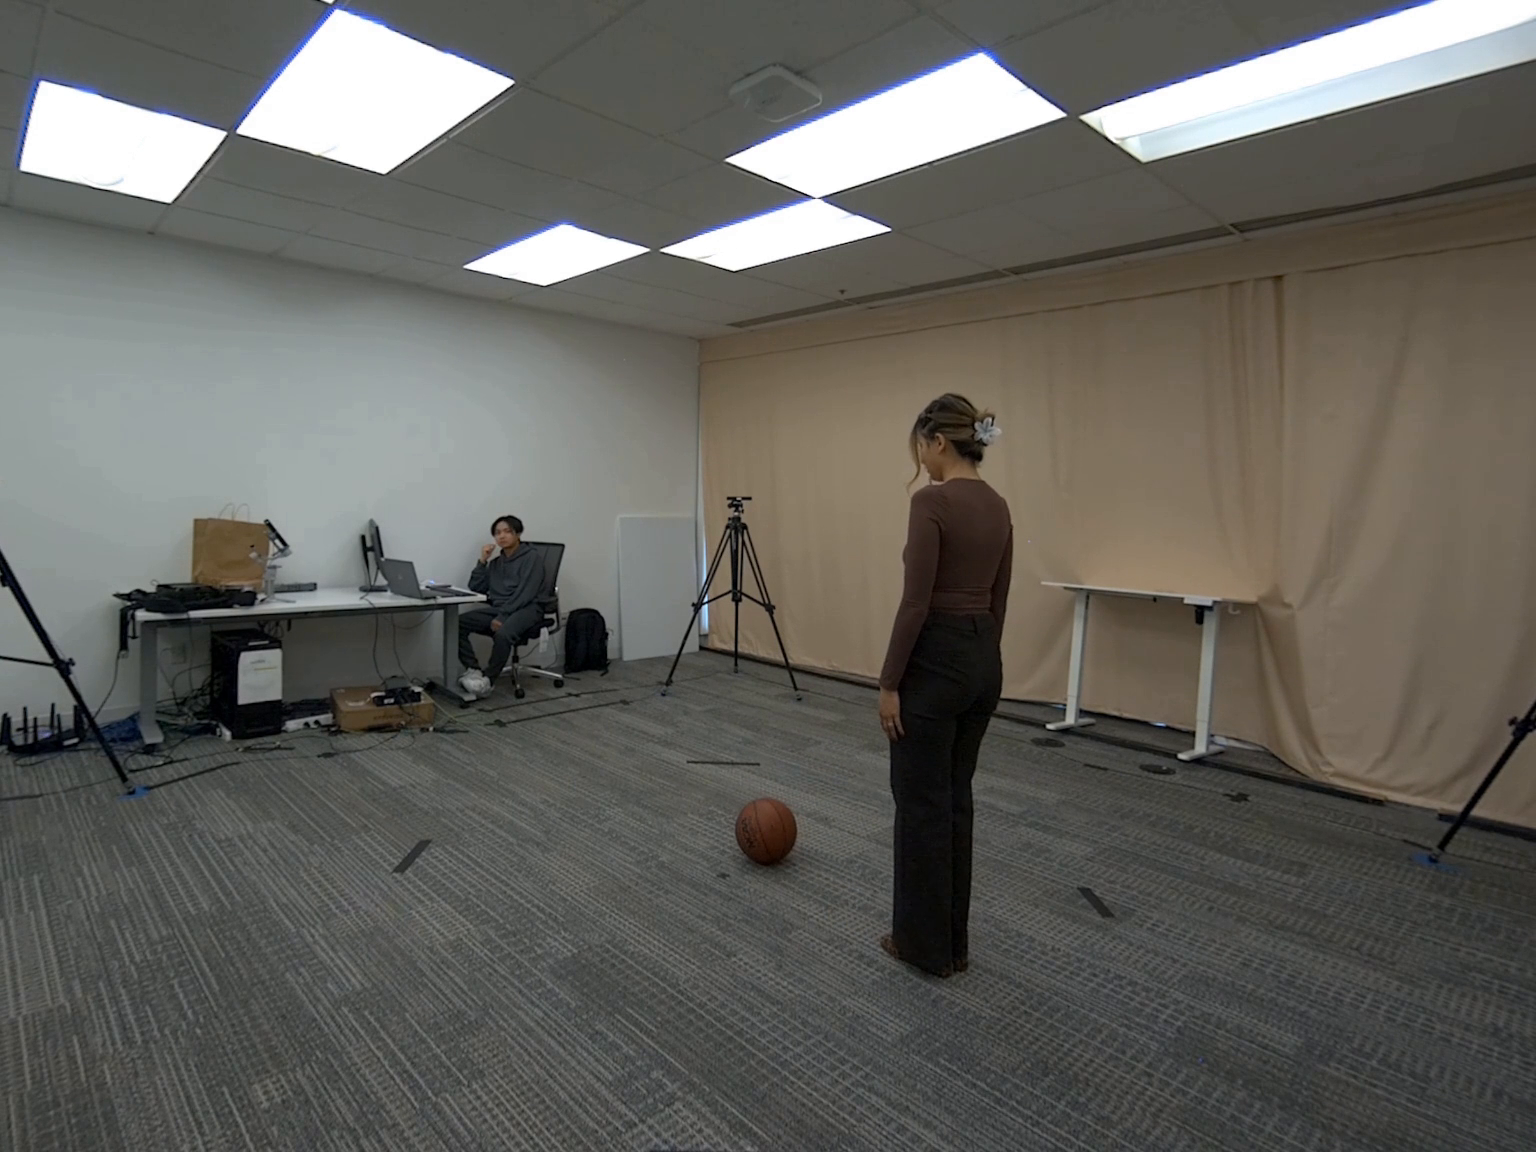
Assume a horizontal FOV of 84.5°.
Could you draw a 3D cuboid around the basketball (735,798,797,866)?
[{"bbox_3d":[-0.014,0.975,3.238,0.236,0.235,0.237,1,4,-1],"label":"basketball"}]
